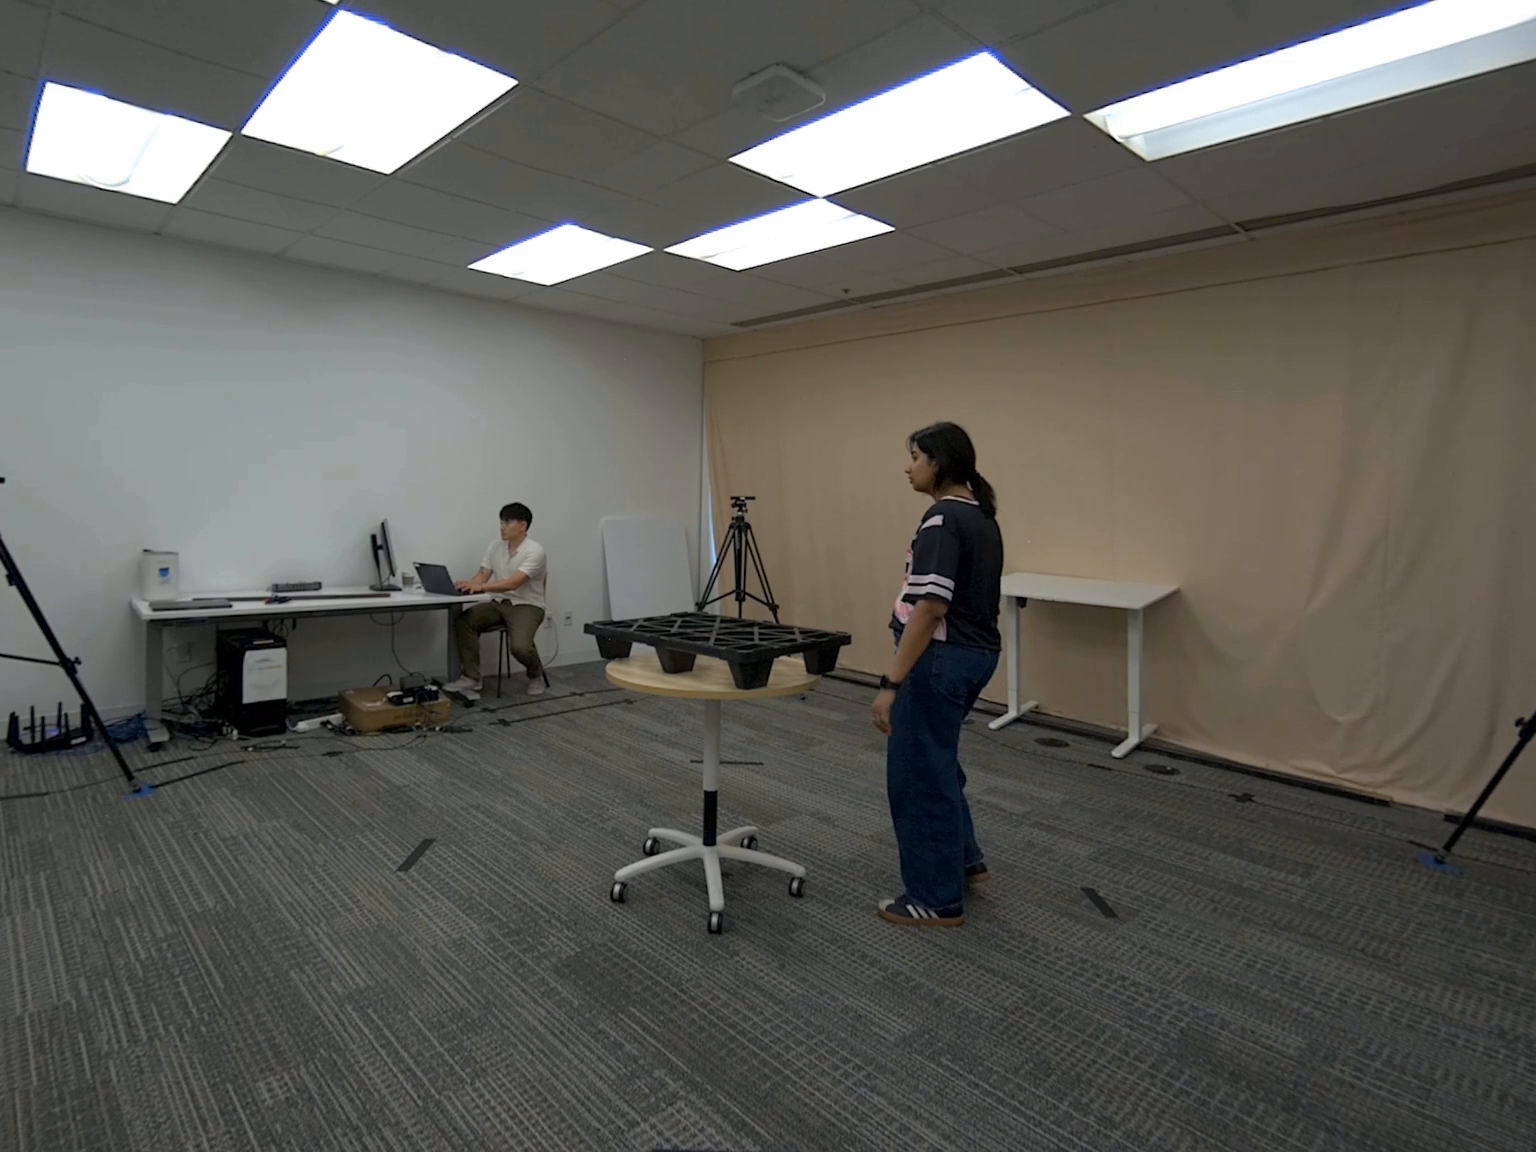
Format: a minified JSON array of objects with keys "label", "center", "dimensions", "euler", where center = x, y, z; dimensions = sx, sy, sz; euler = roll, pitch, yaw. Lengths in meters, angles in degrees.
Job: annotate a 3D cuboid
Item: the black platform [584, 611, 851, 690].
[{"label":"black platform","center":[-0.195,0.261,3.066],"dimensions":[0.826,0.143,0.591],"euler":[6,6,42]}]
